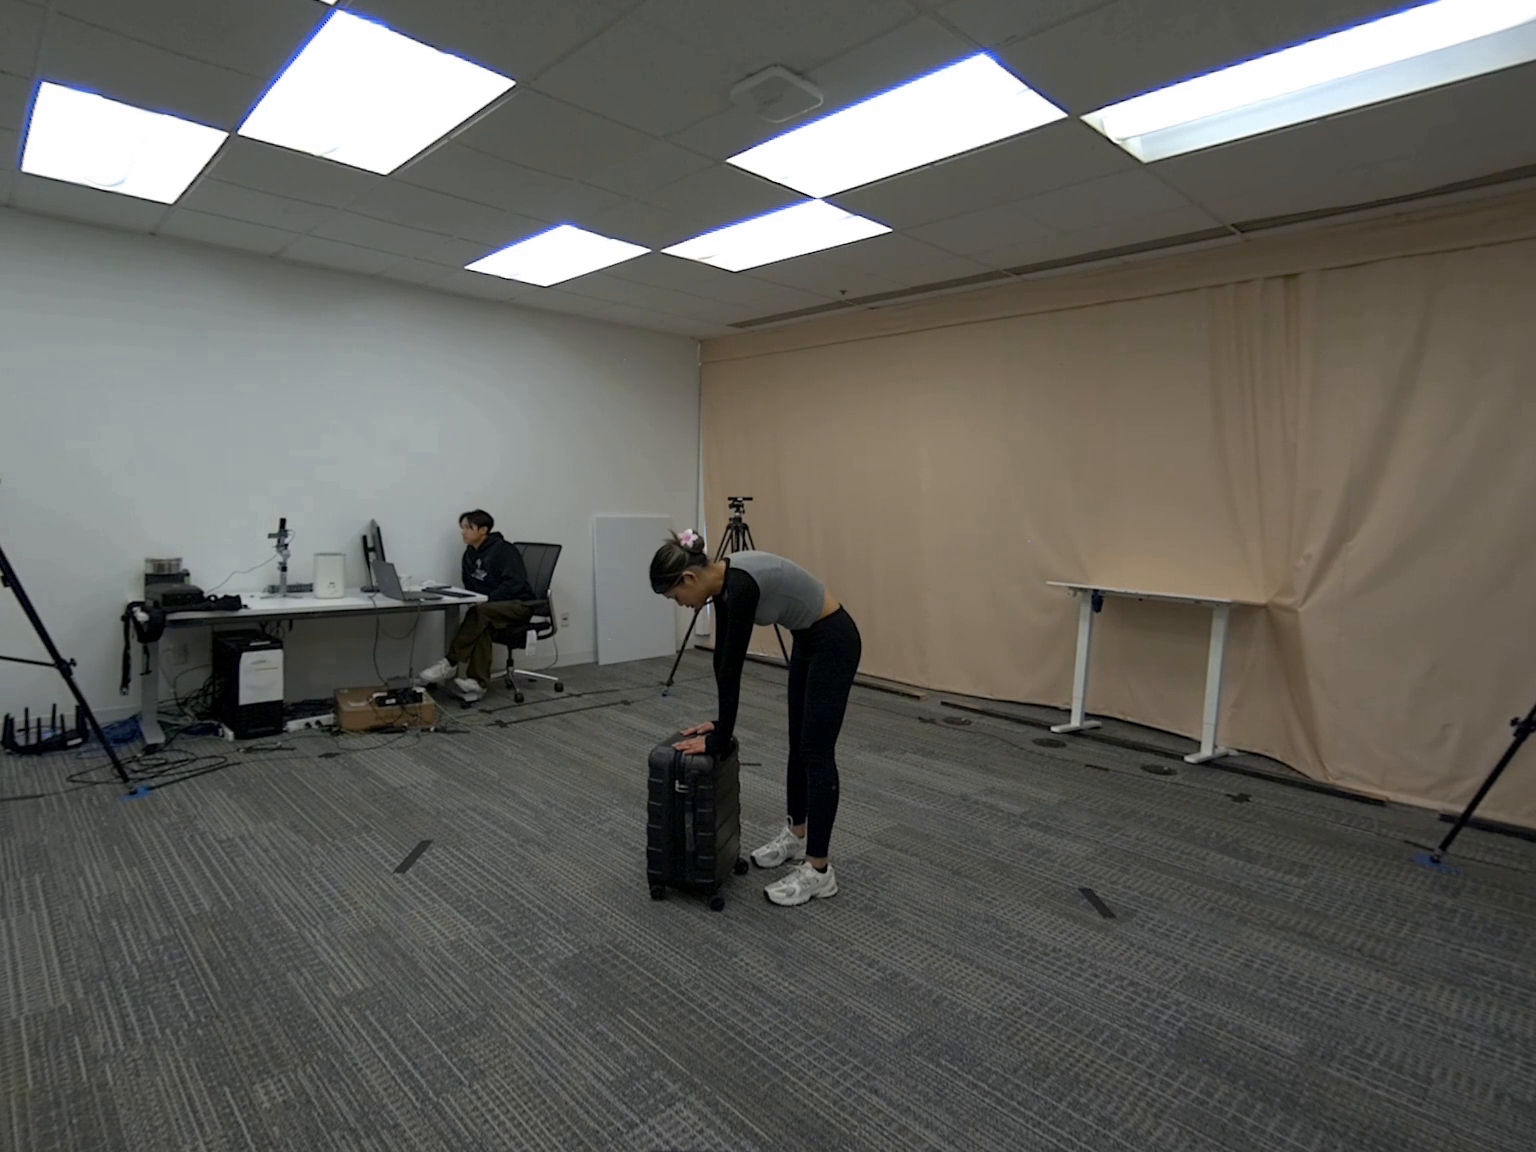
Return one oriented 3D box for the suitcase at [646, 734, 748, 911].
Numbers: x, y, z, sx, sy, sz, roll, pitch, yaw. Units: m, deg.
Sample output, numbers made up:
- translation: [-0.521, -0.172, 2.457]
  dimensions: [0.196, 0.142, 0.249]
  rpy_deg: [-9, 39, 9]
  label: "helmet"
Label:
- translation: [-0.261, 0.839, 3.006]
  dimensions: [0.252, 0.548, 0.371]
  rpy_deg: [1, 4, 18]
  label: "suitcase"
